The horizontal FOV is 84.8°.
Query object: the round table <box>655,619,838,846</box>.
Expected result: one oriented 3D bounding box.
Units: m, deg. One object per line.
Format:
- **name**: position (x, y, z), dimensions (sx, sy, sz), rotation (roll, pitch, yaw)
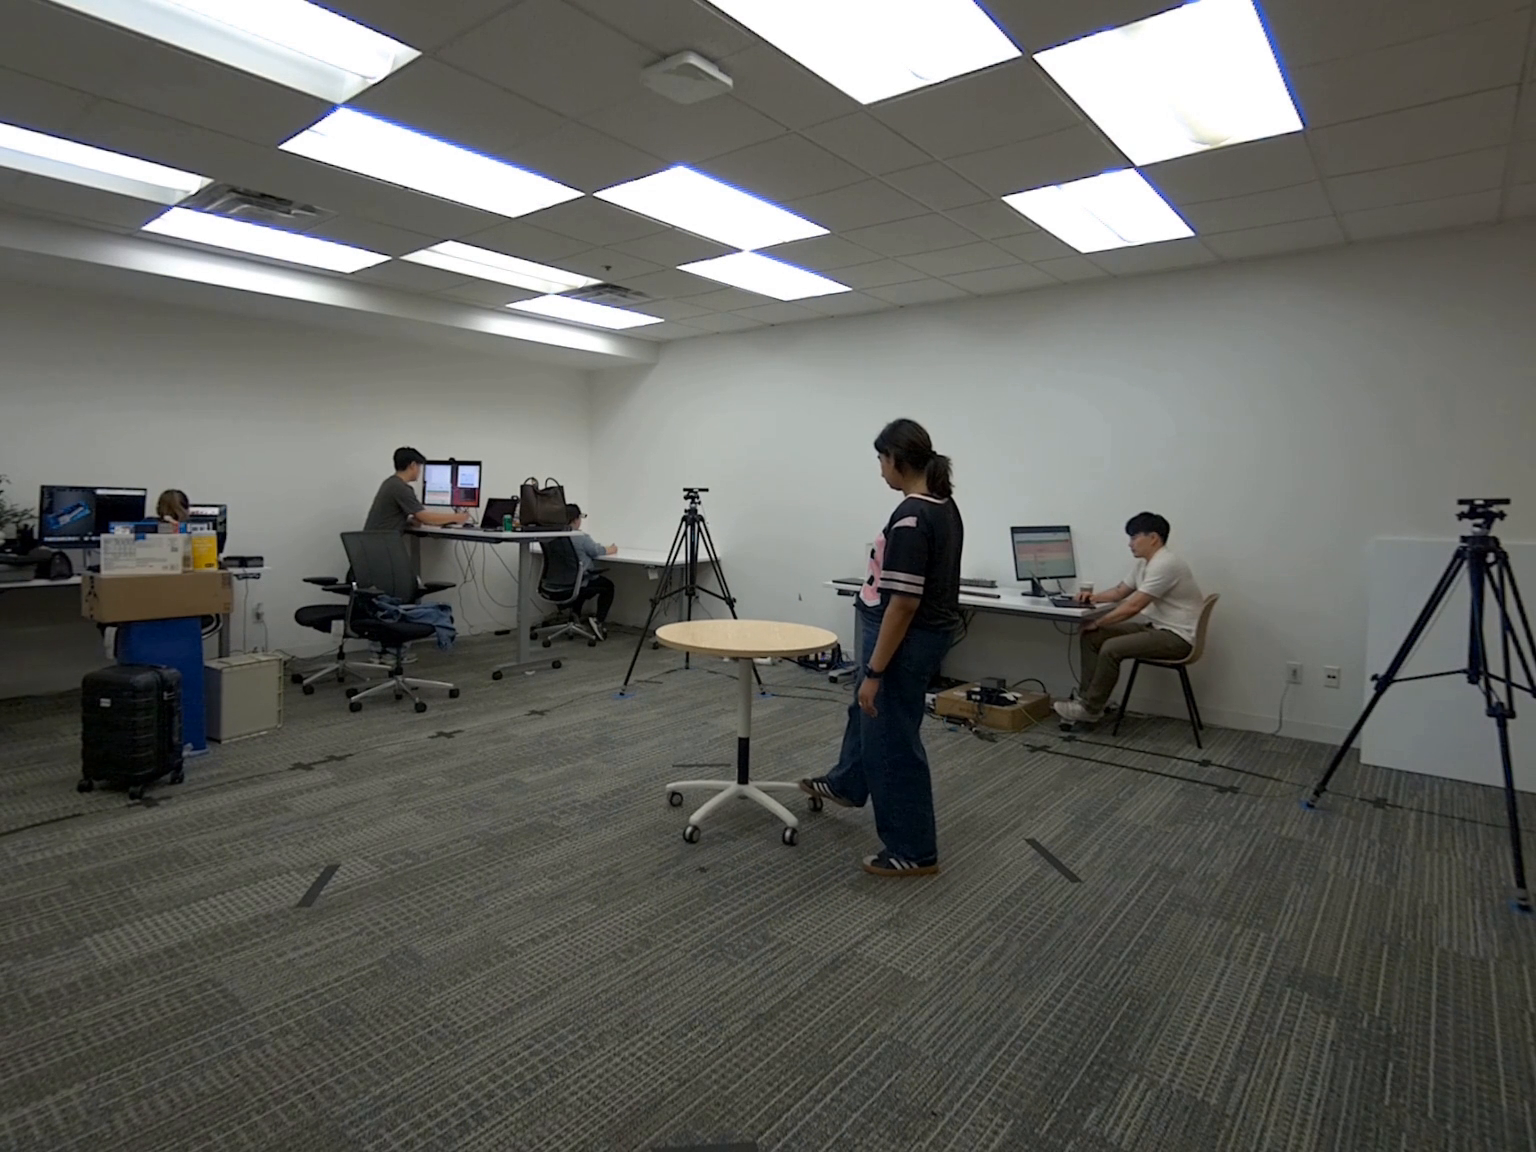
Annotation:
- **round table**: position (-0.113, 0.634, 3.616), dimensions (0.763, 0.791, 0.768), rotation (1, 4, -2)
